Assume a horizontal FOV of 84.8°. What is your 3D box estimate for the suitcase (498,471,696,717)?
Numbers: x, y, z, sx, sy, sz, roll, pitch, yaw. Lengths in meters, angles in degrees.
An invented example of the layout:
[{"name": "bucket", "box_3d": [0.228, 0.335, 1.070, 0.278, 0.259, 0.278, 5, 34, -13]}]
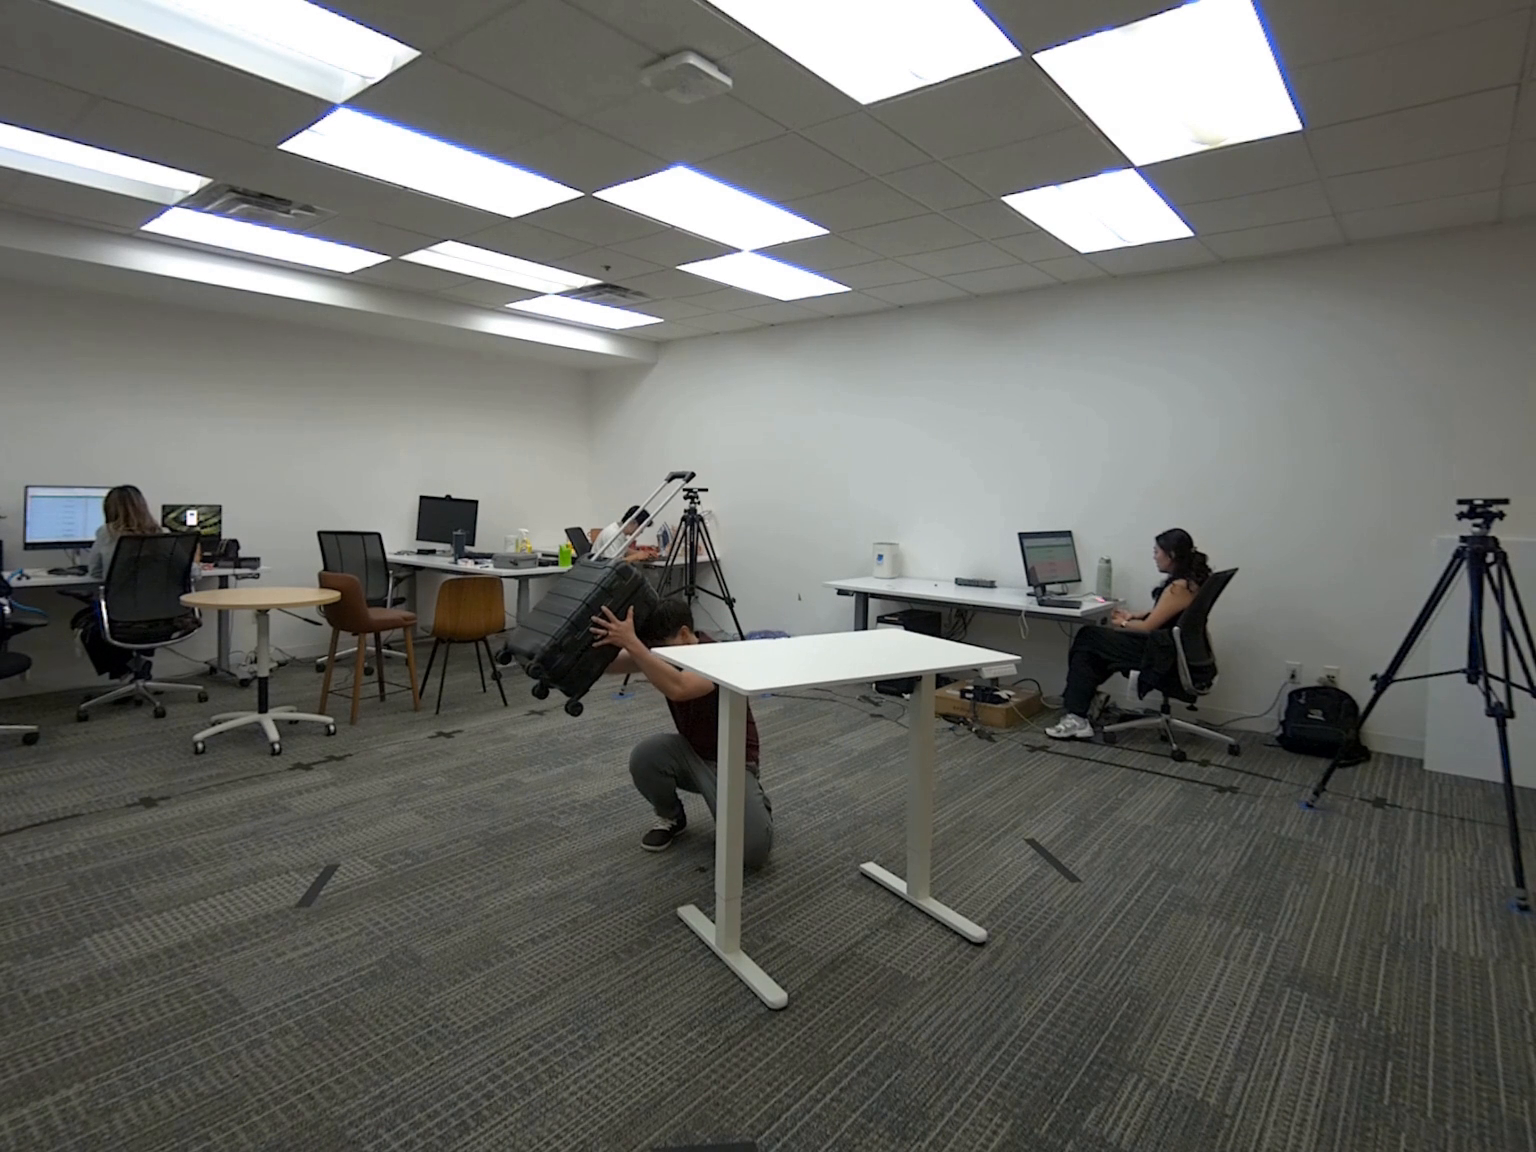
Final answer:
[{"name": "suitcase", "box_3d": [-0.577, 0.029, 3.170, 0.396, 0.980, 0.249, 4, -39, 54]}]
